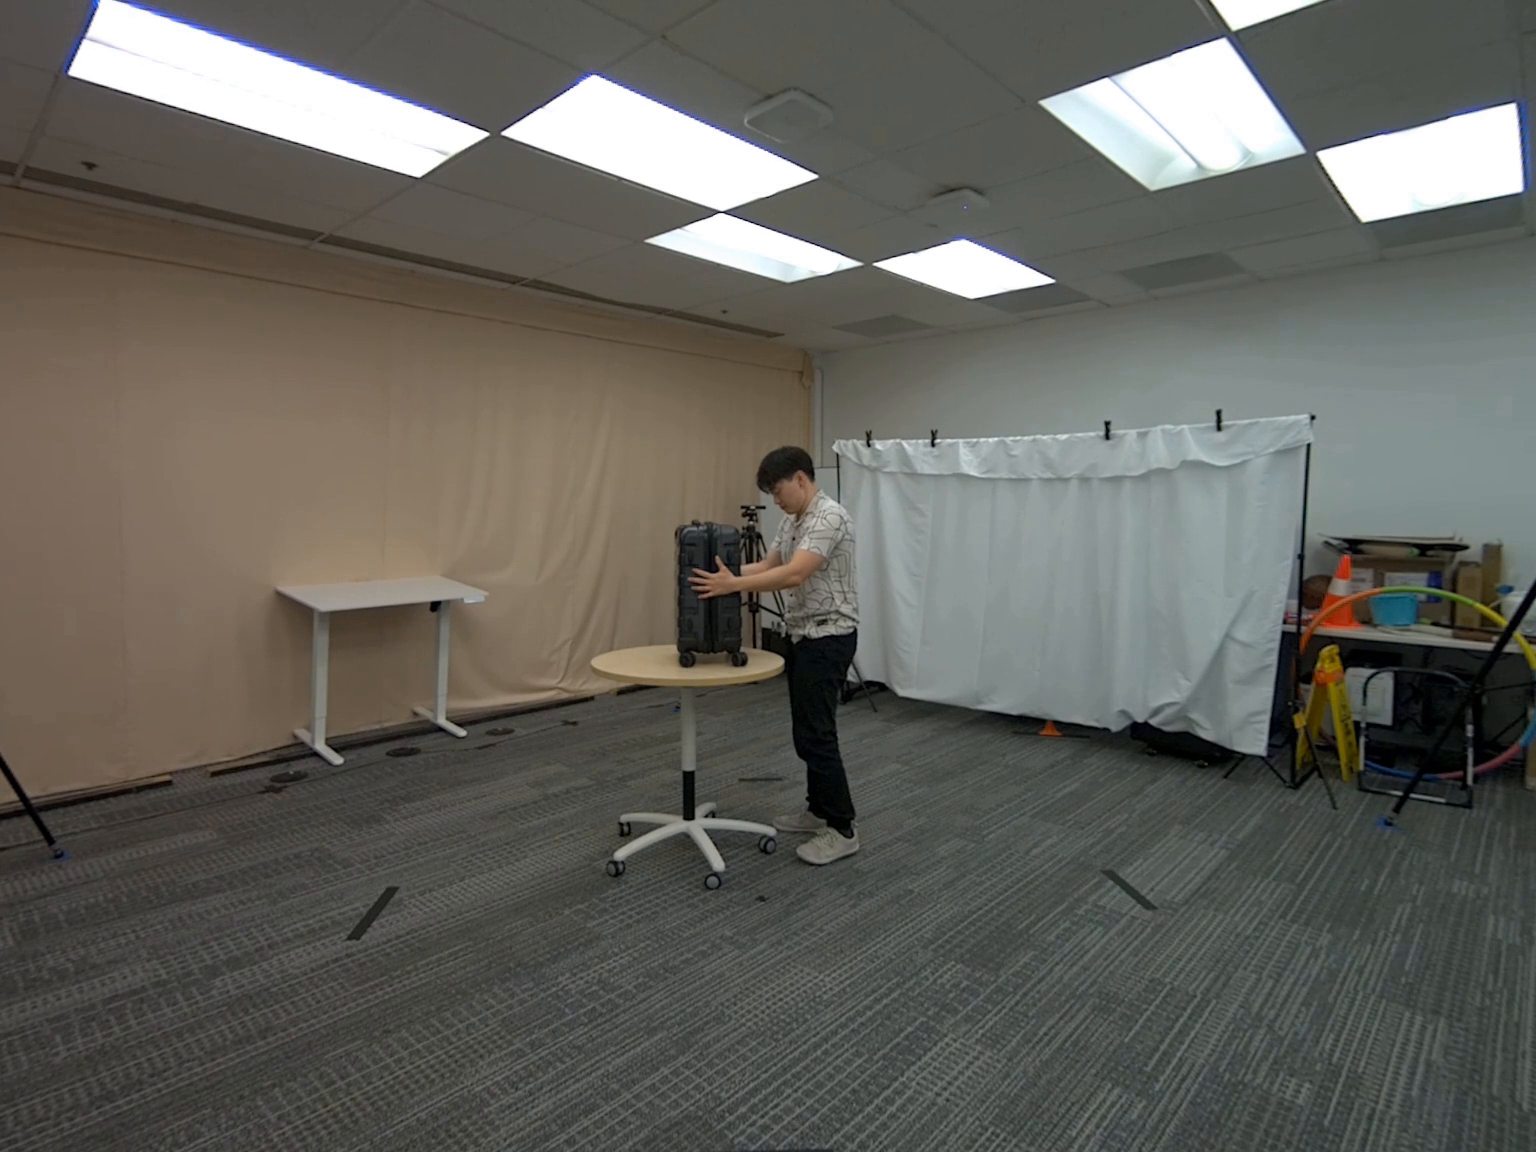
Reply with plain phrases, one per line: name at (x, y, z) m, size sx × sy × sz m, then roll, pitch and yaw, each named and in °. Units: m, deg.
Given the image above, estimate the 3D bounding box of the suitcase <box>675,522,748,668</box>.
suitcase at (-0.237, 0.055, 3.350) m, size 0.247 × 0.549 × 0.378 m, roll 0°, pitch 2°, yaw -6°
